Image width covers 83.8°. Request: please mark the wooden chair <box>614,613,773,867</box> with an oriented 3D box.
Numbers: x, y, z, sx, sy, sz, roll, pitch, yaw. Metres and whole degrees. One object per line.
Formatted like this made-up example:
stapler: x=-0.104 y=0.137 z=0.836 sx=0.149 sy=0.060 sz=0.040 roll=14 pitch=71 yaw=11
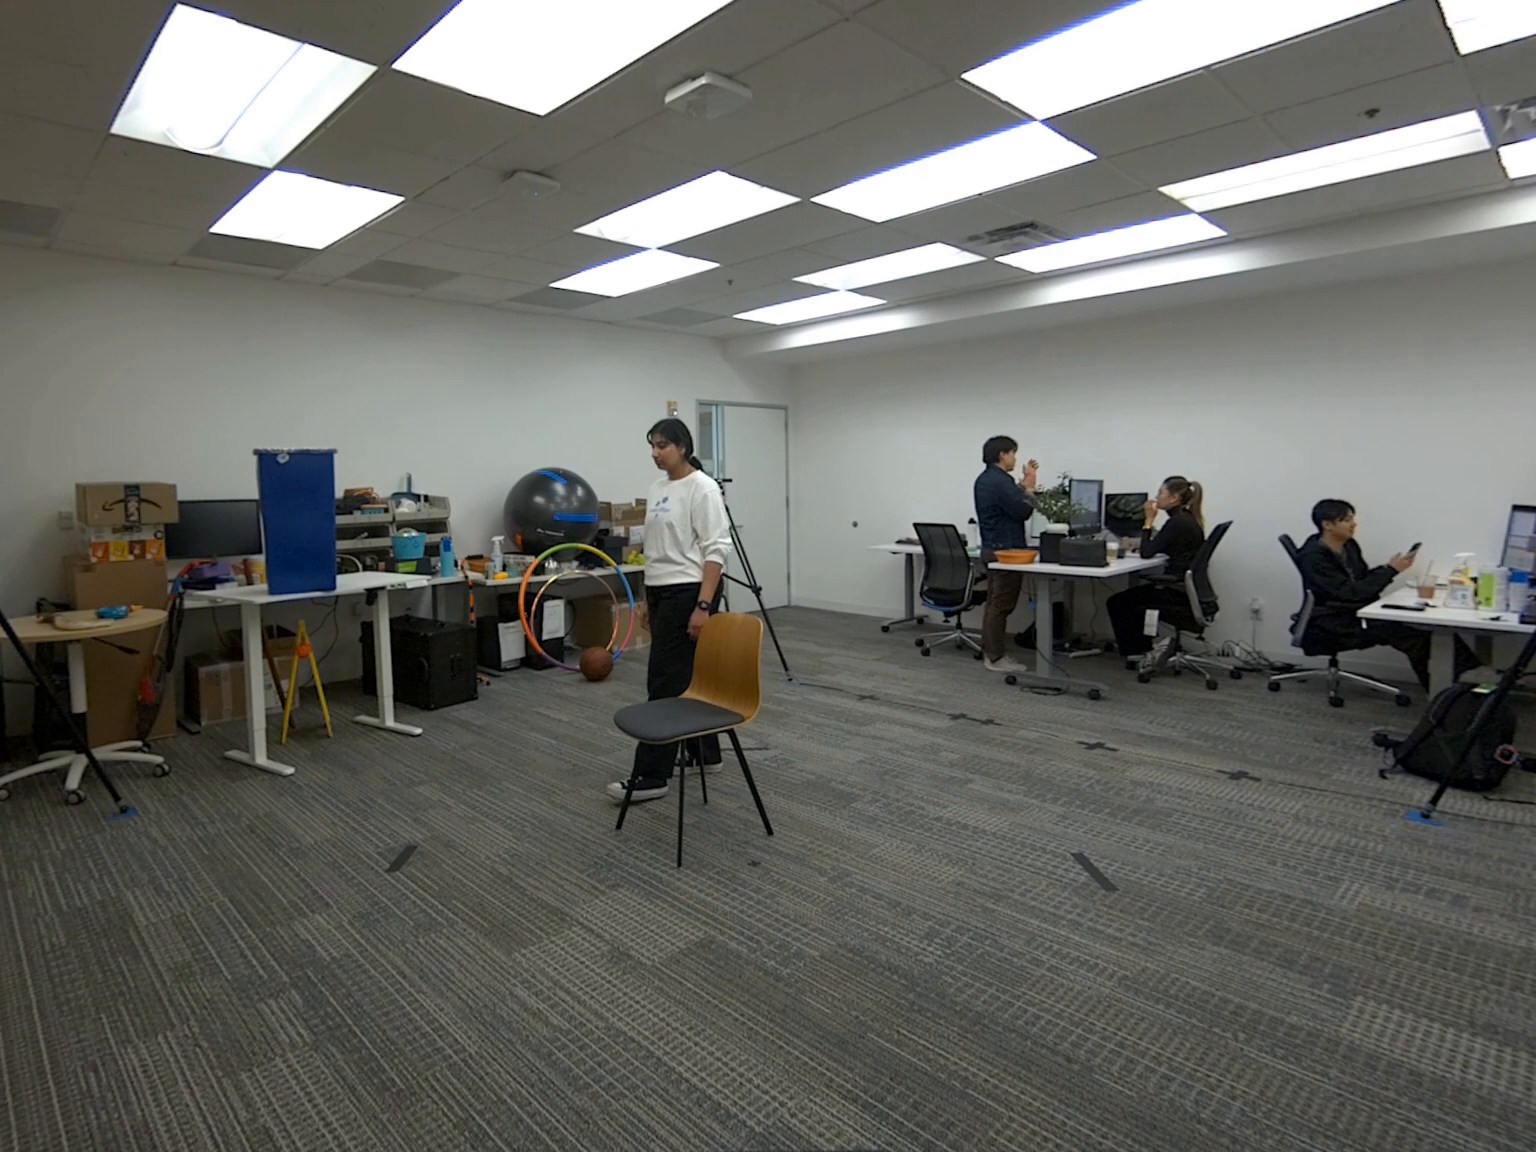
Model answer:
wooden chair: x=-0.302 y=0.593 z=3.353 sx=0.508 sy=0.876 sz=0.493 roll=1 pitch=2 yaw=-40
